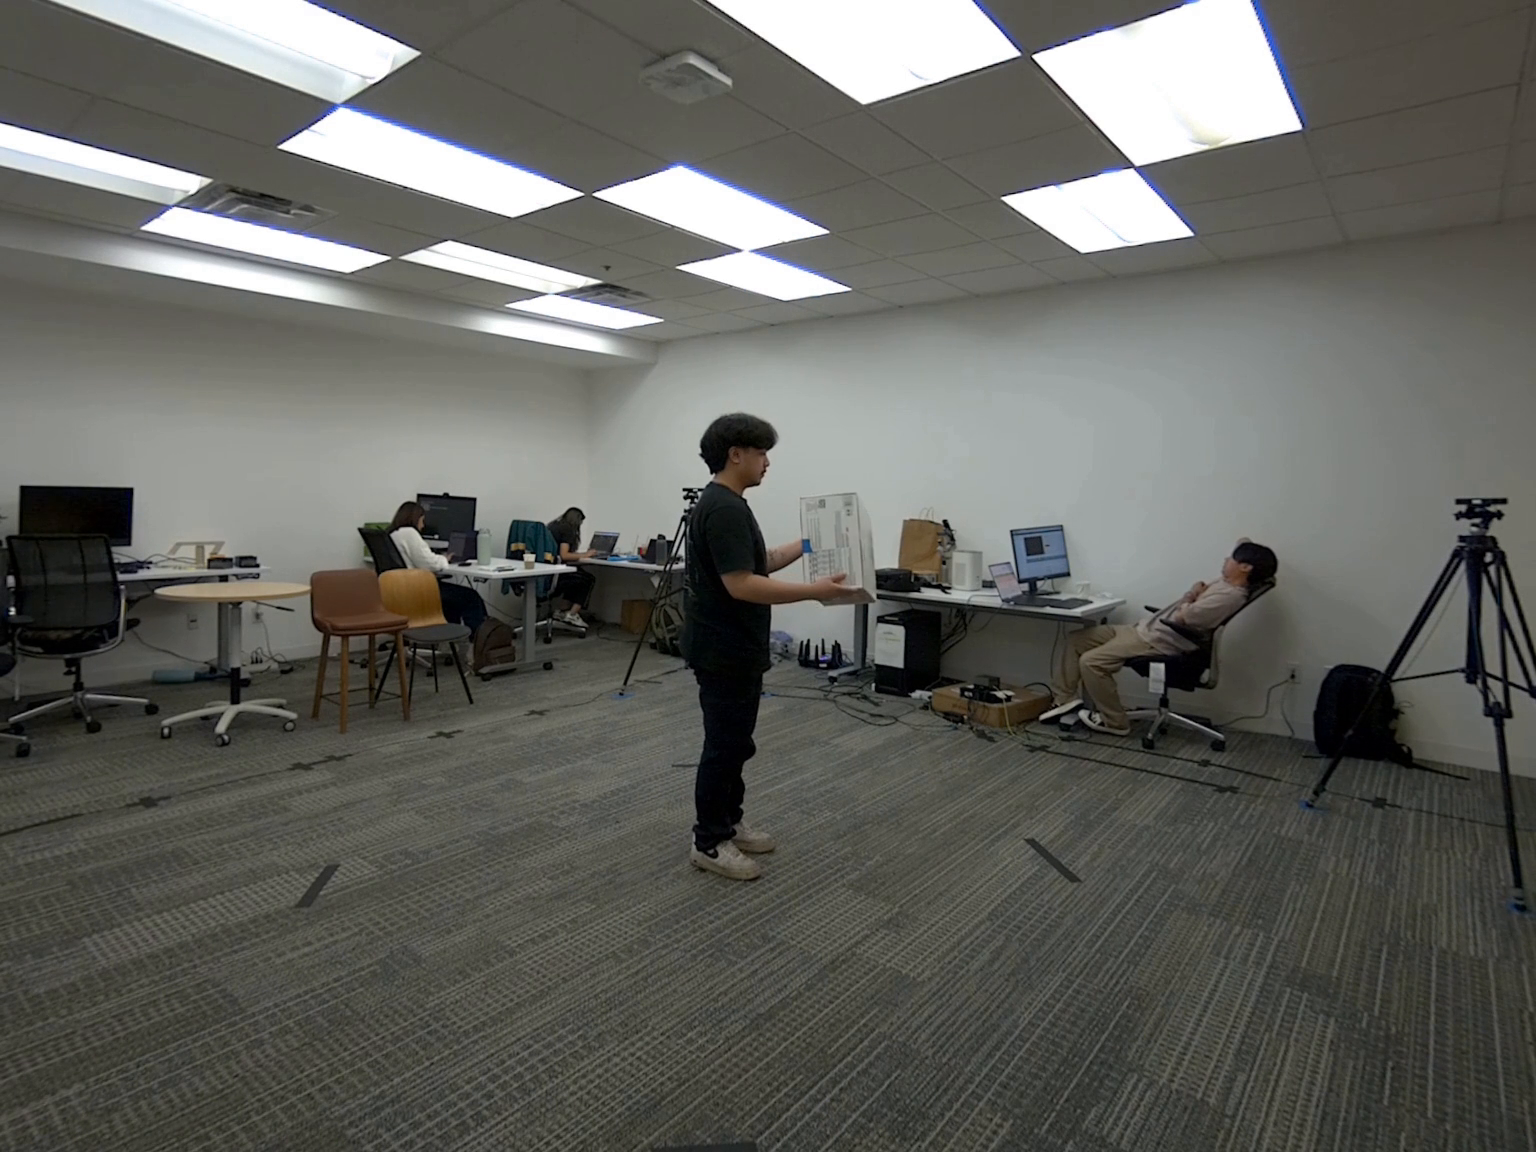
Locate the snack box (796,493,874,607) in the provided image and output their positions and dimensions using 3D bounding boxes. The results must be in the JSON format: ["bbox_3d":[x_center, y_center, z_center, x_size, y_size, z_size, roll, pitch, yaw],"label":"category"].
[{"bbox_3d":[0.253,-0.086,3.115,0.208,0.344,0.395,-5,-11,13],"label":"snack box"}]
